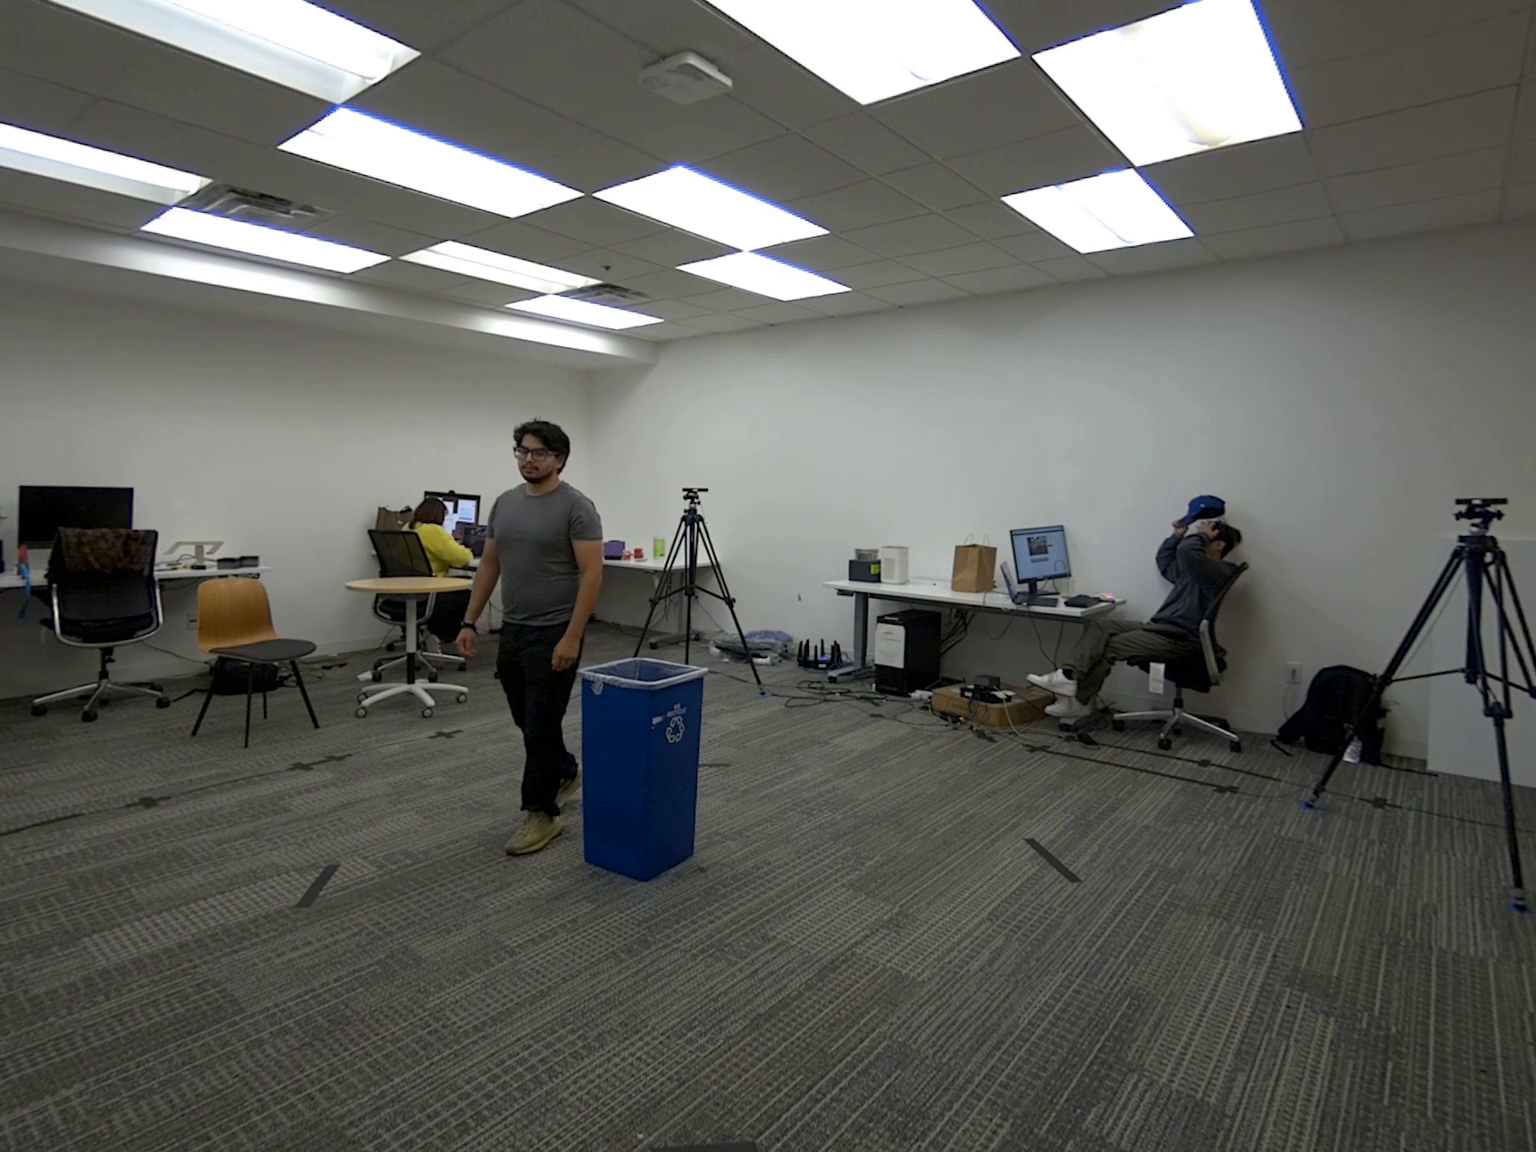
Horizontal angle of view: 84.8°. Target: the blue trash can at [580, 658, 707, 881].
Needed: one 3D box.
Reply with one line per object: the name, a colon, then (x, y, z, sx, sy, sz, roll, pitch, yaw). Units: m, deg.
blue trash can: (-0.482, 0.700, 3.187, 0.390, 0.712, 0.364, 3, 4, 32)
